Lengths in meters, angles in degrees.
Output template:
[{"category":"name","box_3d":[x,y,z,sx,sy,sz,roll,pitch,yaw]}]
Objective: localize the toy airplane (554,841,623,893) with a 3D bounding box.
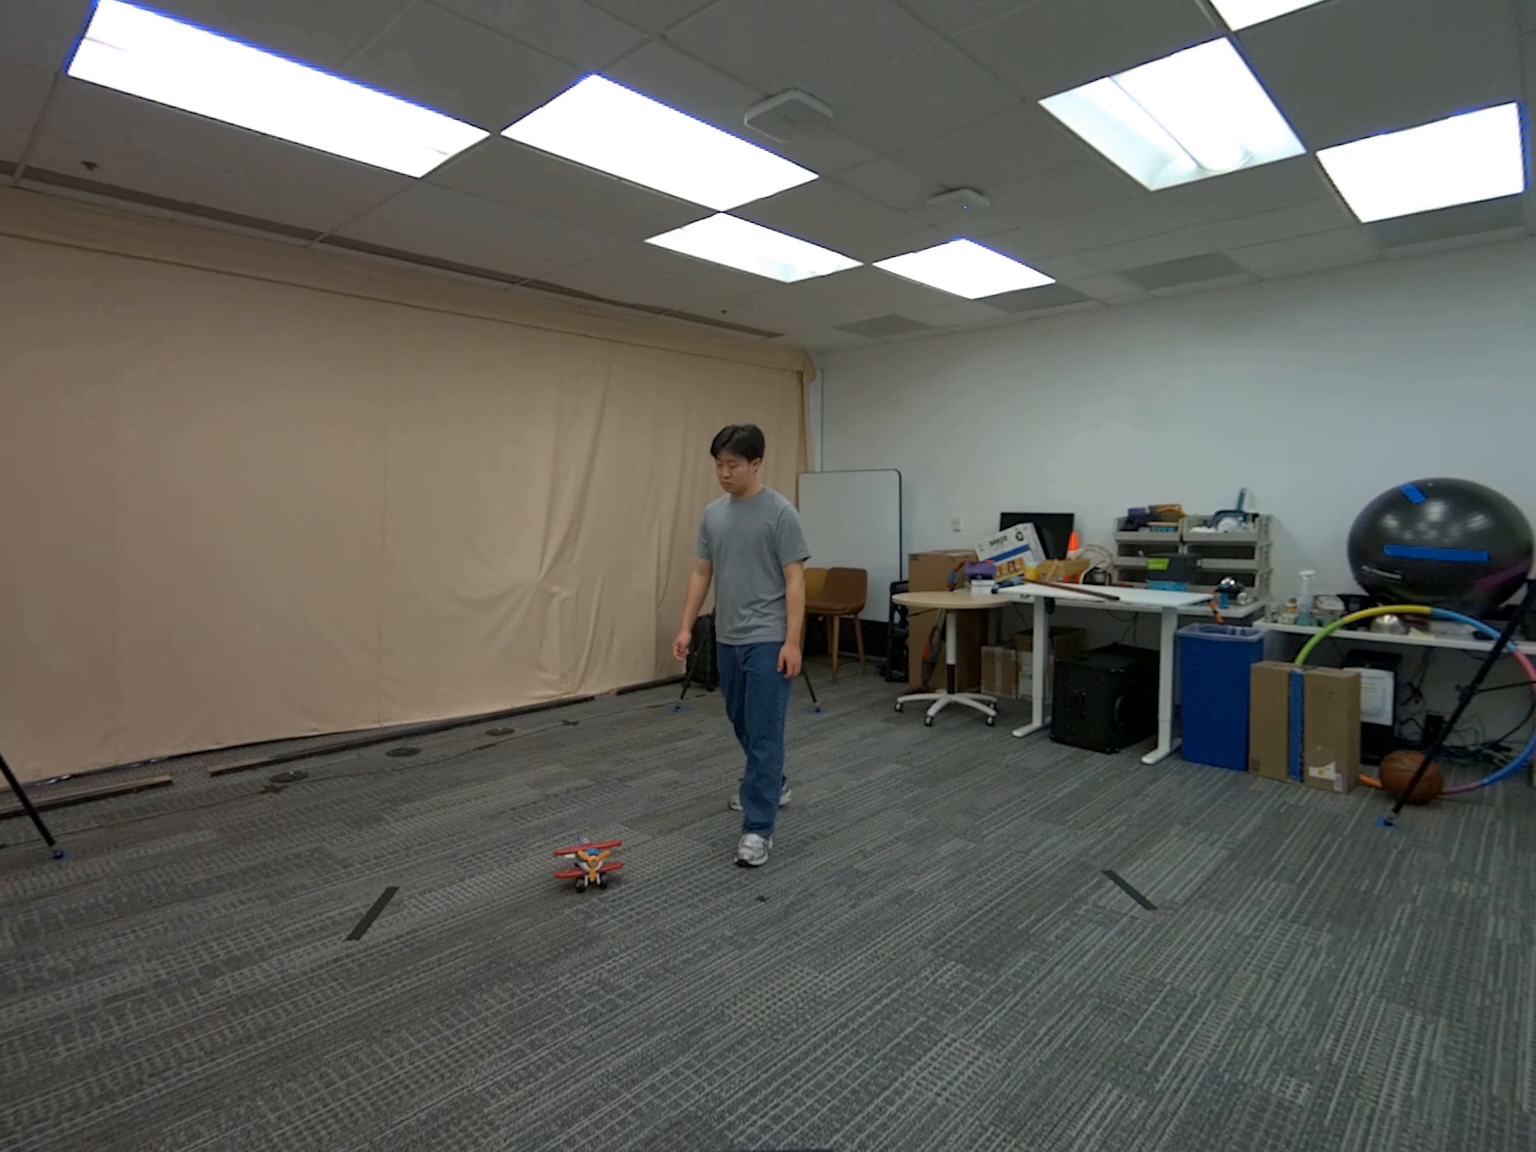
[{"category":"toy airplane","box_3d":[-0.696,1.067,3.133,0.268,0.156,0.243,4,6,40]}]
